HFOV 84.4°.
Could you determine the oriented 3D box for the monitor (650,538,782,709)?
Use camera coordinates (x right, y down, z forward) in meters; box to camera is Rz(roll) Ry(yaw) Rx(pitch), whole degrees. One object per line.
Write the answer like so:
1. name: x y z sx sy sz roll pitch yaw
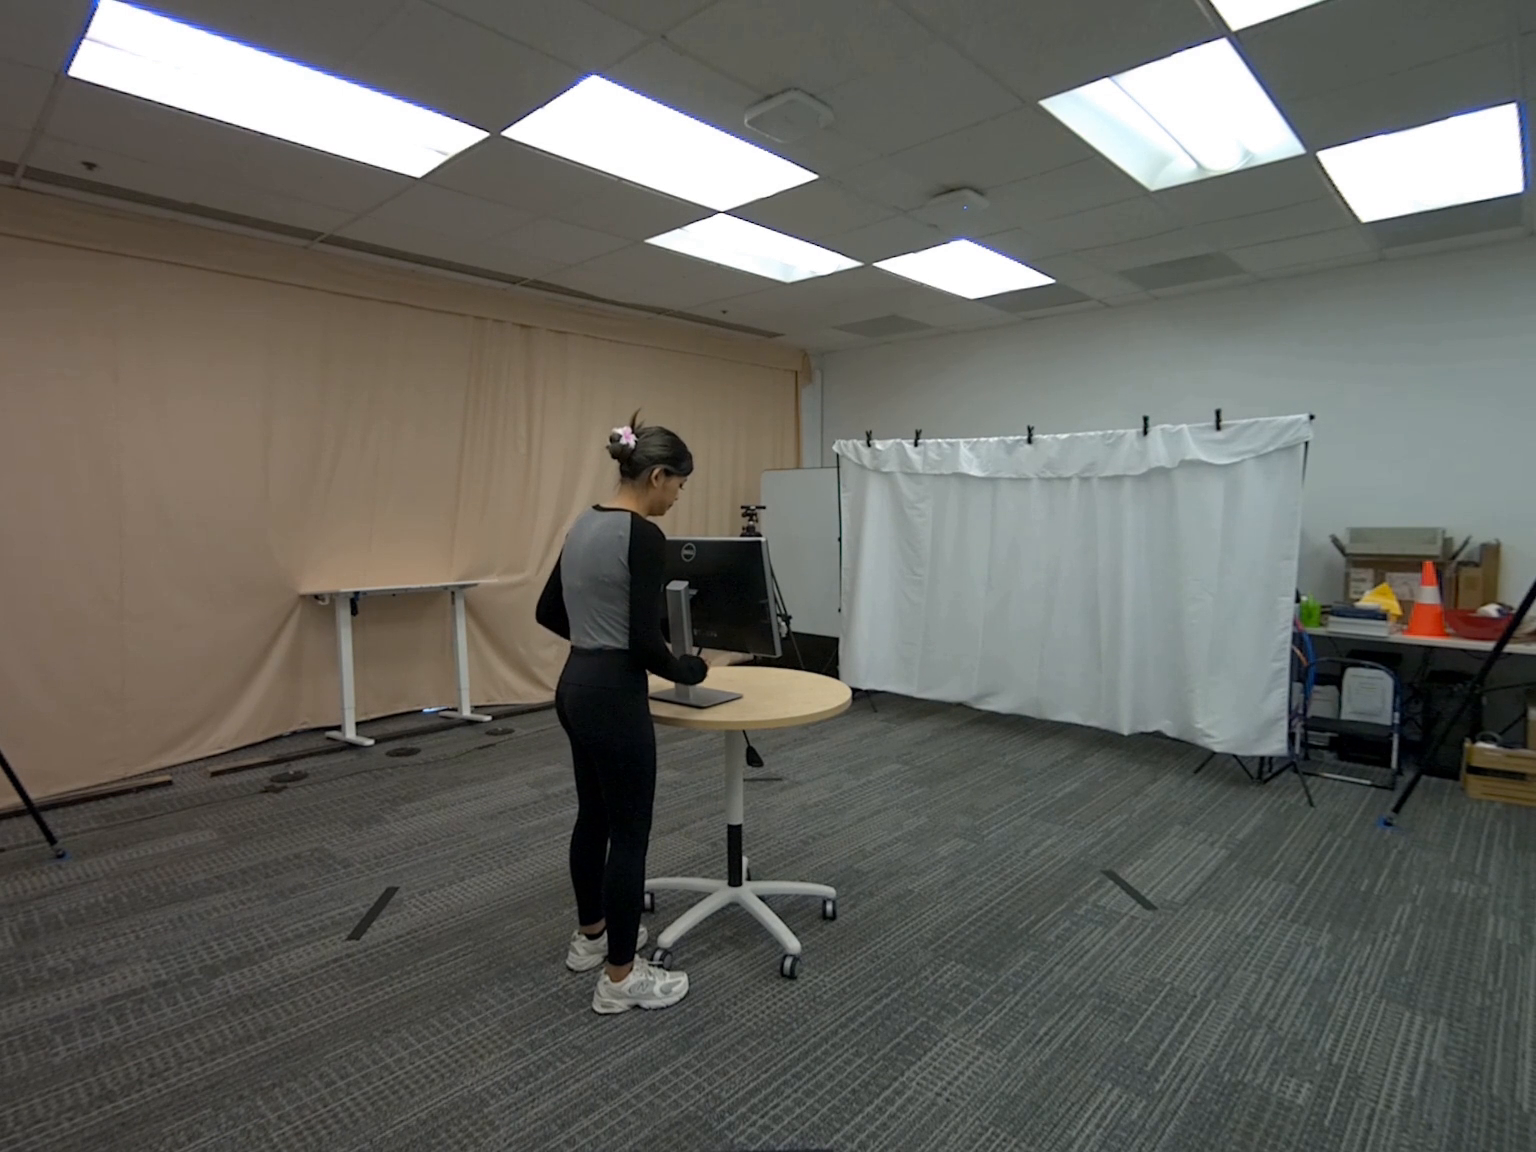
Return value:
1. monitor: -0.222 0.137 2.639 0.547 0.517 0.169 0 -5 38
